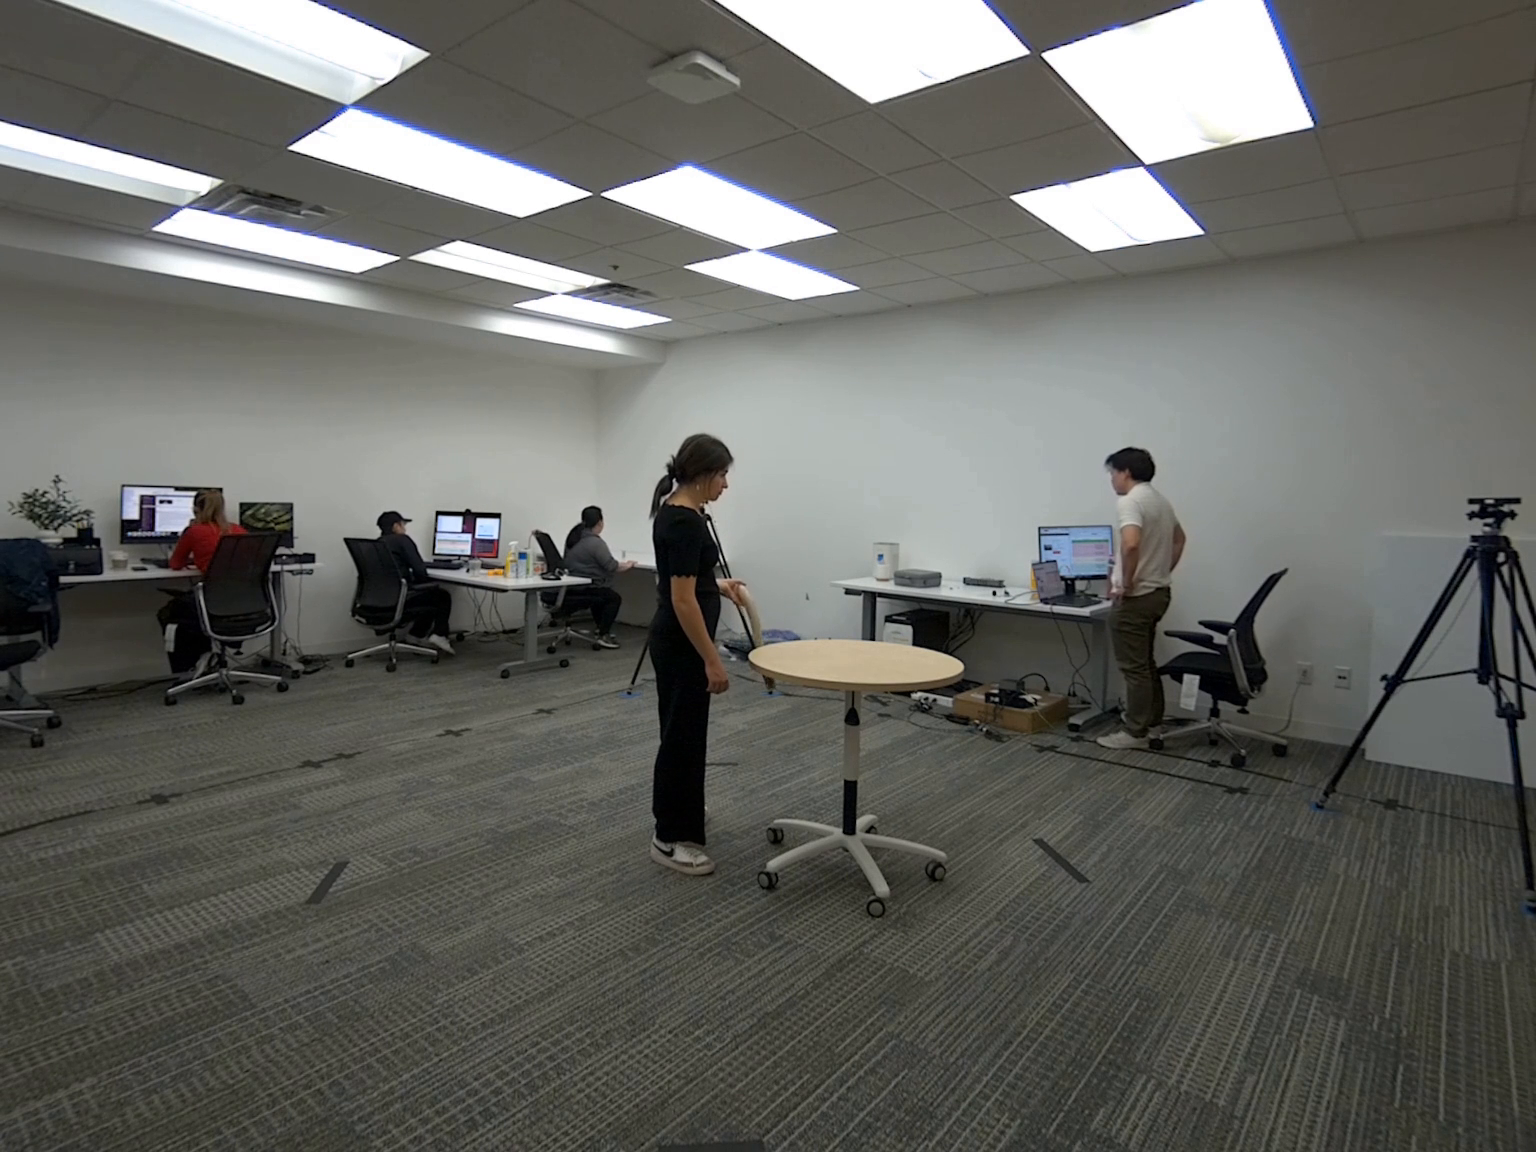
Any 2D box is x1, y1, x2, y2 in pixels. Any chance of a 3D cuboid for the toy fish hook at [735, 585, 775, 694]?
[{"bbox_3d":[-0.072,0.237,3.633,0.048,0.495,0.232,-19,20,-14],"label":"toy fish hook"}]
